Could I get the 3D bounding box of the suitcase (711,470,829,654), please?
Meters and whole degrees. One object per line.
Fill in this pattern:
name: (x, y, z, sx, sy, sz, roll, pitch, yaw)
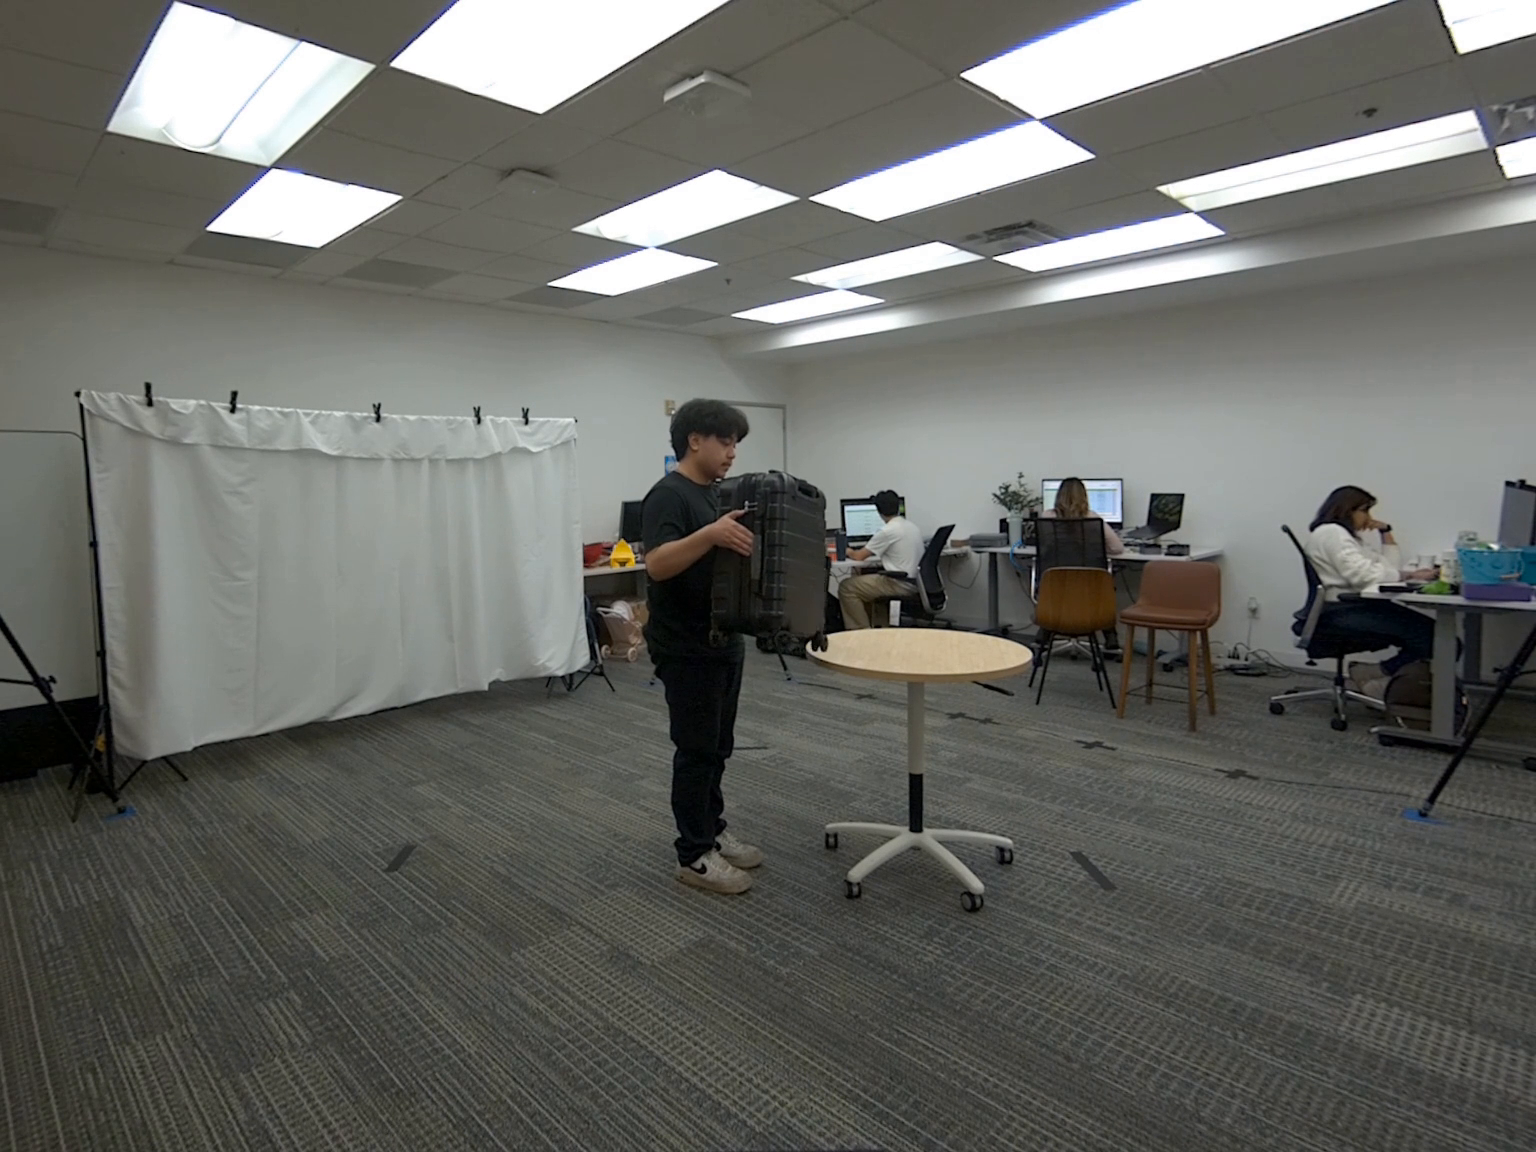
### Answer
suitcase: (0.012, -0.046, 2.724, 0.254, 0.553, 0.364, -3, -8, 29)
